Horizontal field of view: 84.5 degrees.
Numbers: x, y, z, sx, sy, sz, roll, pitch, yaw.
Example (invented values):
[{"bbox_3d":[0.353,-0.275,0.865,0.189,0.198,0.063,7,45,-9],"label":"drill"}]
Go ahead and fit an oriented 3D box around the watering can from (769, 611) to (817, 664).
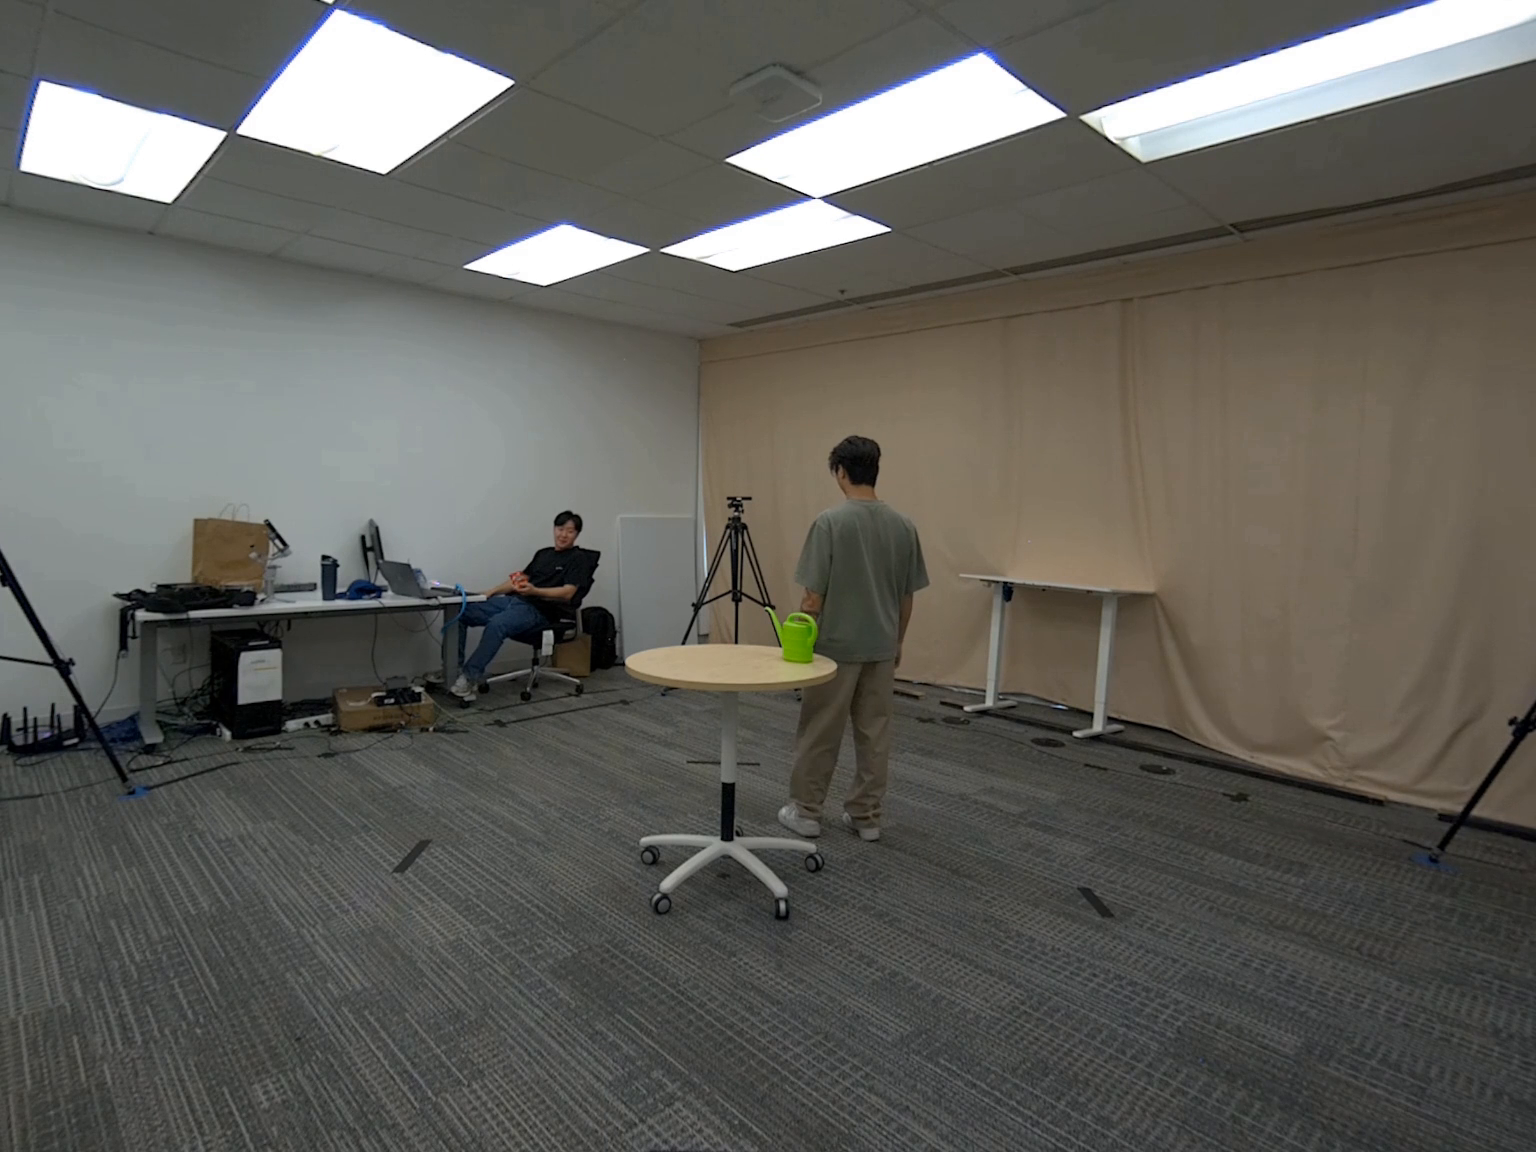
[{"bbox_3d":[0.081,0.222,3.150,0.096,0.176,0.284,-2,6,-26],"label":"watering can"}]
